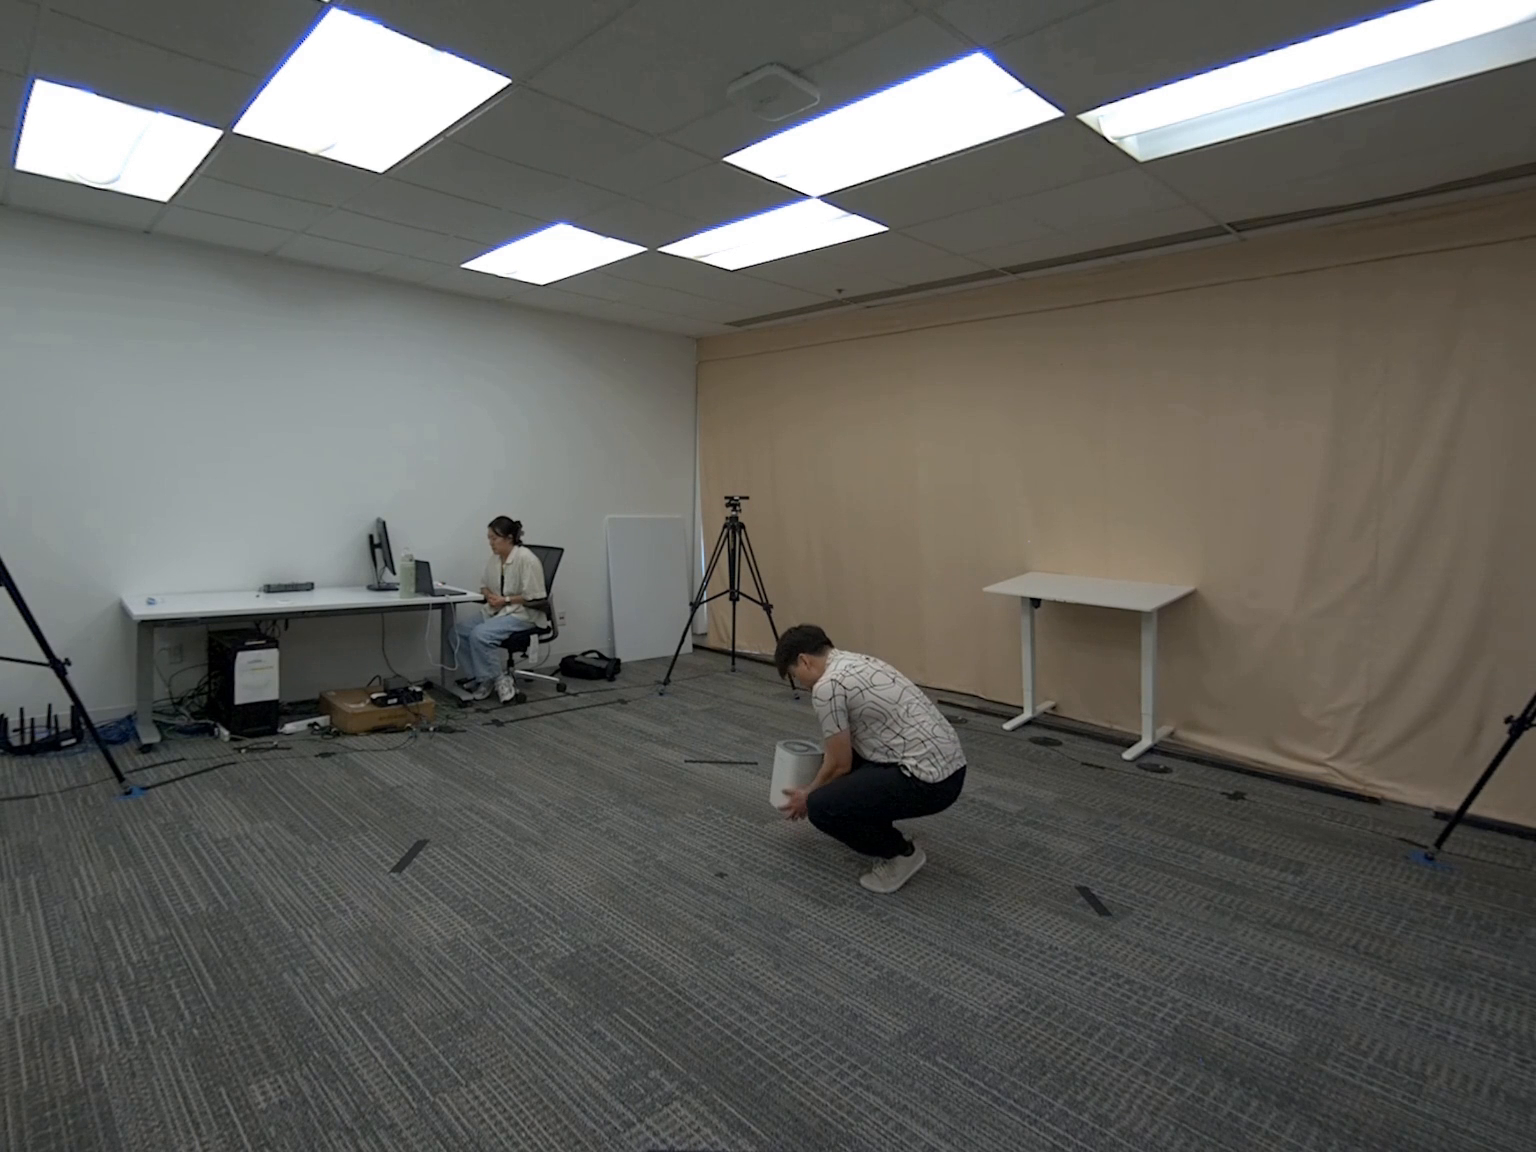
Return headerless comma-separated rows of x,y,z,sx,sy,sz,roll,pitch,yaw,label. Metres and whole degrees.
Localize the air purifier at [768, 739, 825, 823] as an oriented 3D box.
0.124,0.817,3.405,0.168,0.264,0.175,2,5,-25,air purifier
